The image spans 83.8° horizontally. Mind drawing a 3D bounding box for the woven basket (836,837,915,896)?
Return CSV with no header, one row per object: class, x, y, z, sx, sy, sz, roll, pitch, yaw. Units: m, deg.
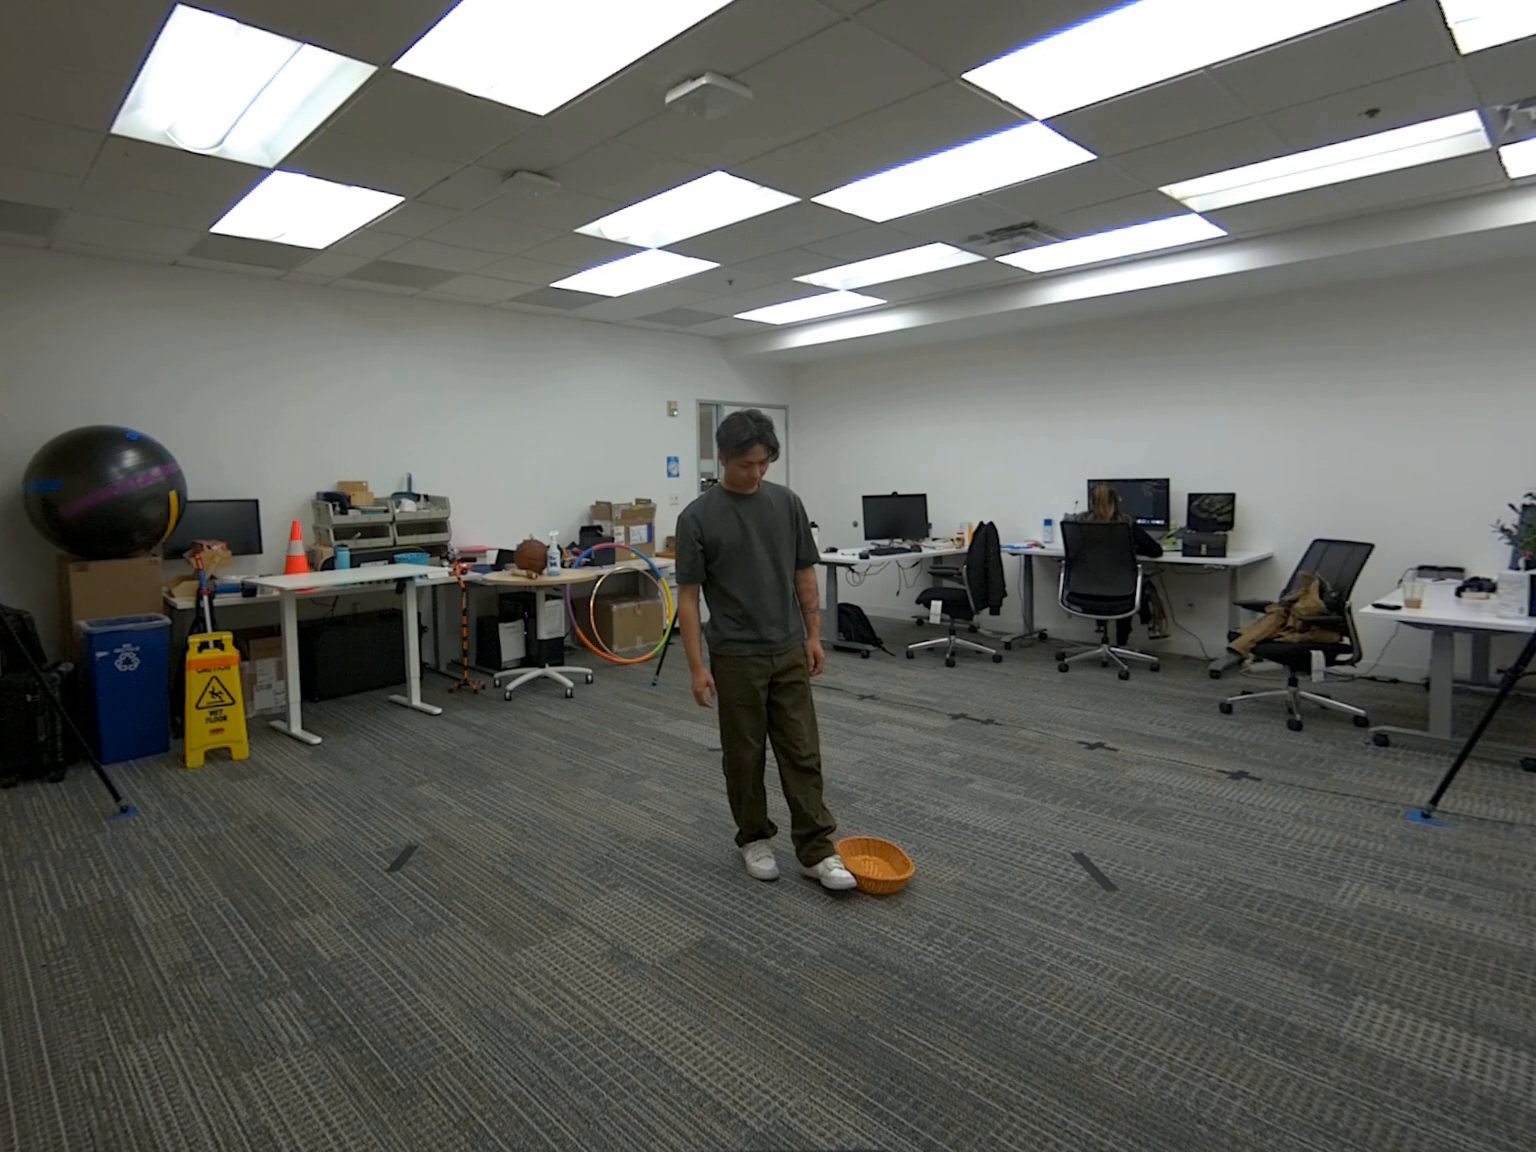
woven basket,0.367,1.005,2.980,0.250,0.073,0.355,1,5,-10
